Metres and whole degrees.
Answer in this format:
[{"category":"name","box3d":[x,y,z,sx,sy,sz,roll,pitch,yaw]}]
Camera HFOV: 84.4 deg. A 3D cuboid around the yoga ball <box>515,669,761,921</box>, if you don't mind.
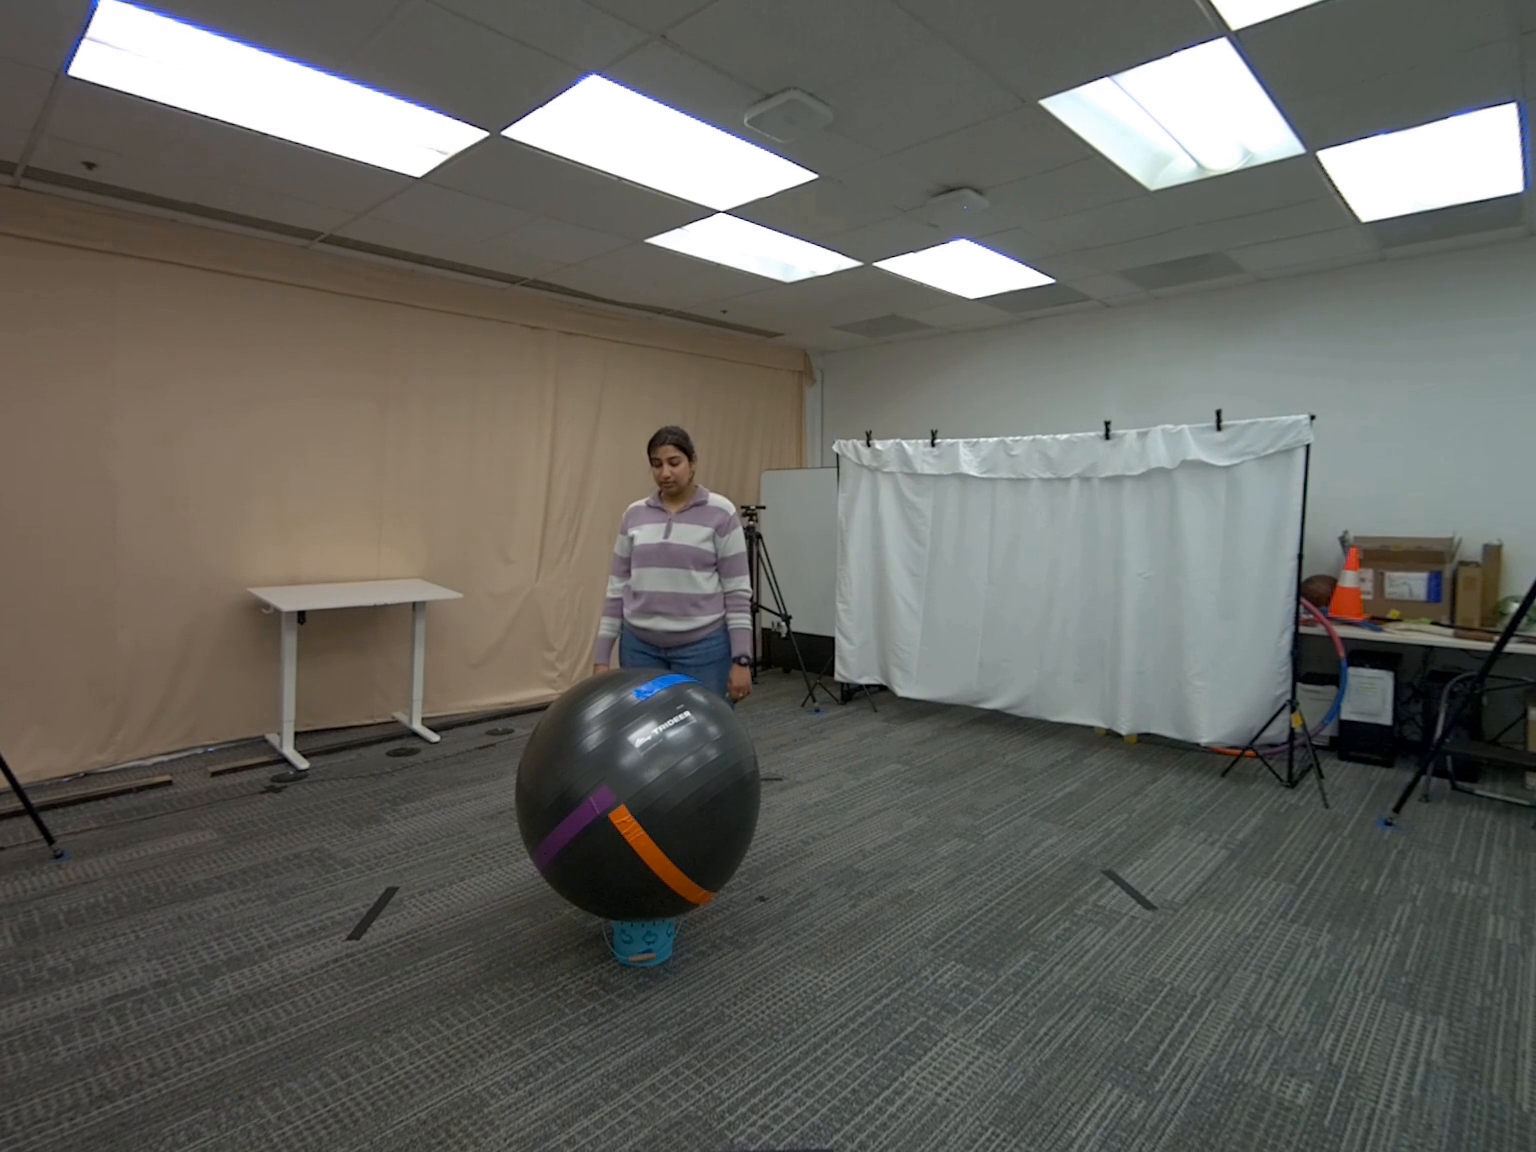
[{"category":"yoga ball","box3d":[-0.417,0.669,2.611,0.757,0.756,0.761,0,4,-2]}]
